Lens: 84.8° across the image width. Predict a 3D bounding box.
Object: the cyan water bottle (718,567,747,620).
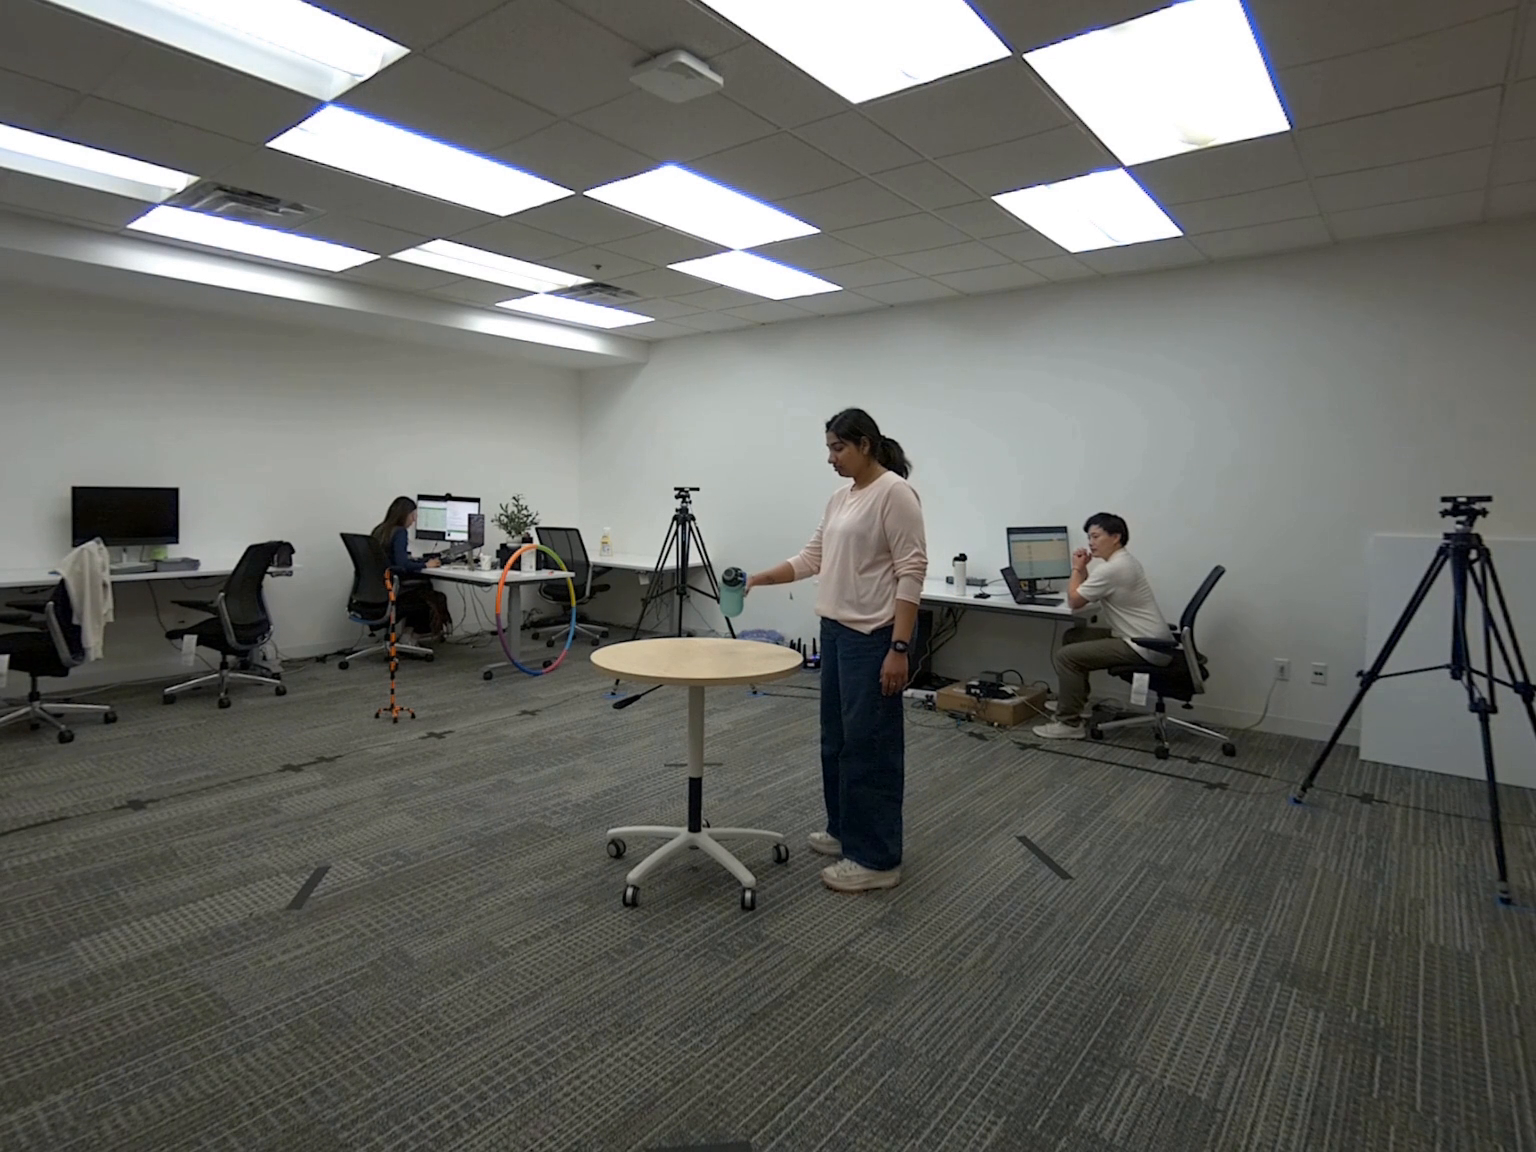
[{"bbox_3d":[-0.141,0.056,3.117,0.092,0.095,0.277,1,-30,-5],"label":"cyan water bottle"}]
